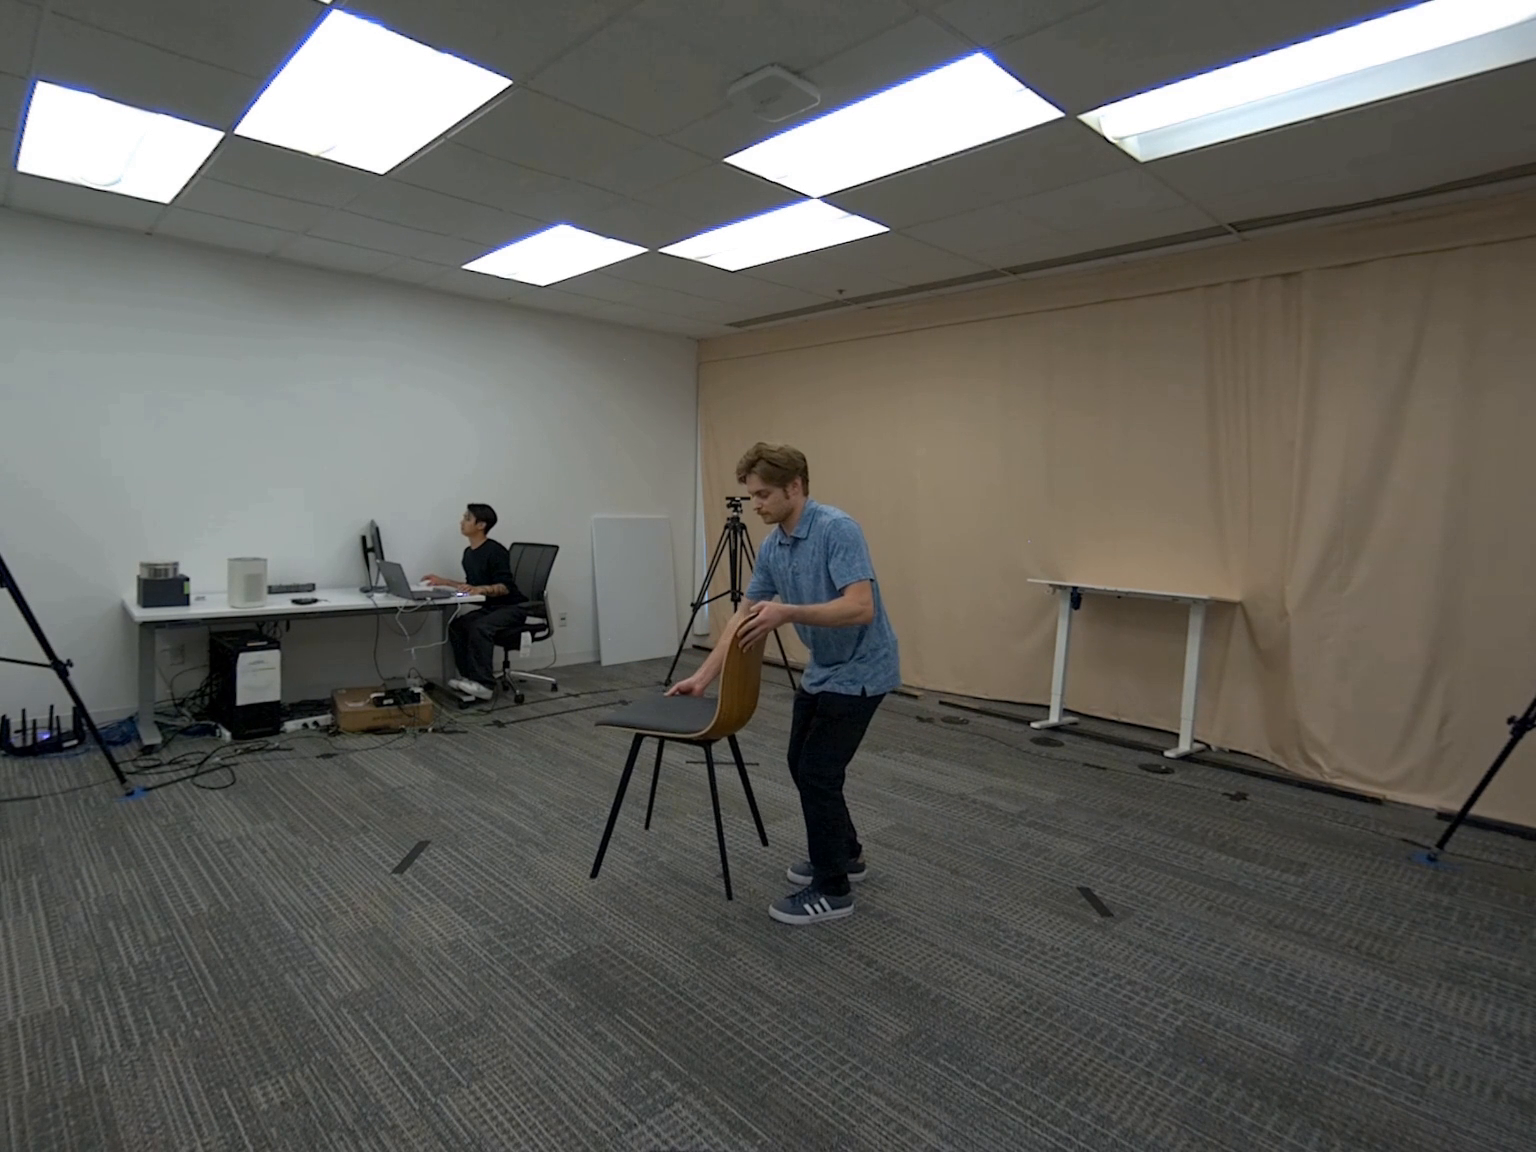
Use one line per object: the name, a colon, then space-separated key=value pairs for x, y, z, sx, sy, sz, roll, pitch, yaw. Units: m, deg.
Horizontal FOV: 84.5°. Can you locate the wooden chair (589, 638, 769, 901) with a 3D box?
wooden chair: x=-0.274 y=0.506 z=2.706 sx=0.530 sy=0.875 sz=0.472 roll=6 pitch=4 yaw=16
